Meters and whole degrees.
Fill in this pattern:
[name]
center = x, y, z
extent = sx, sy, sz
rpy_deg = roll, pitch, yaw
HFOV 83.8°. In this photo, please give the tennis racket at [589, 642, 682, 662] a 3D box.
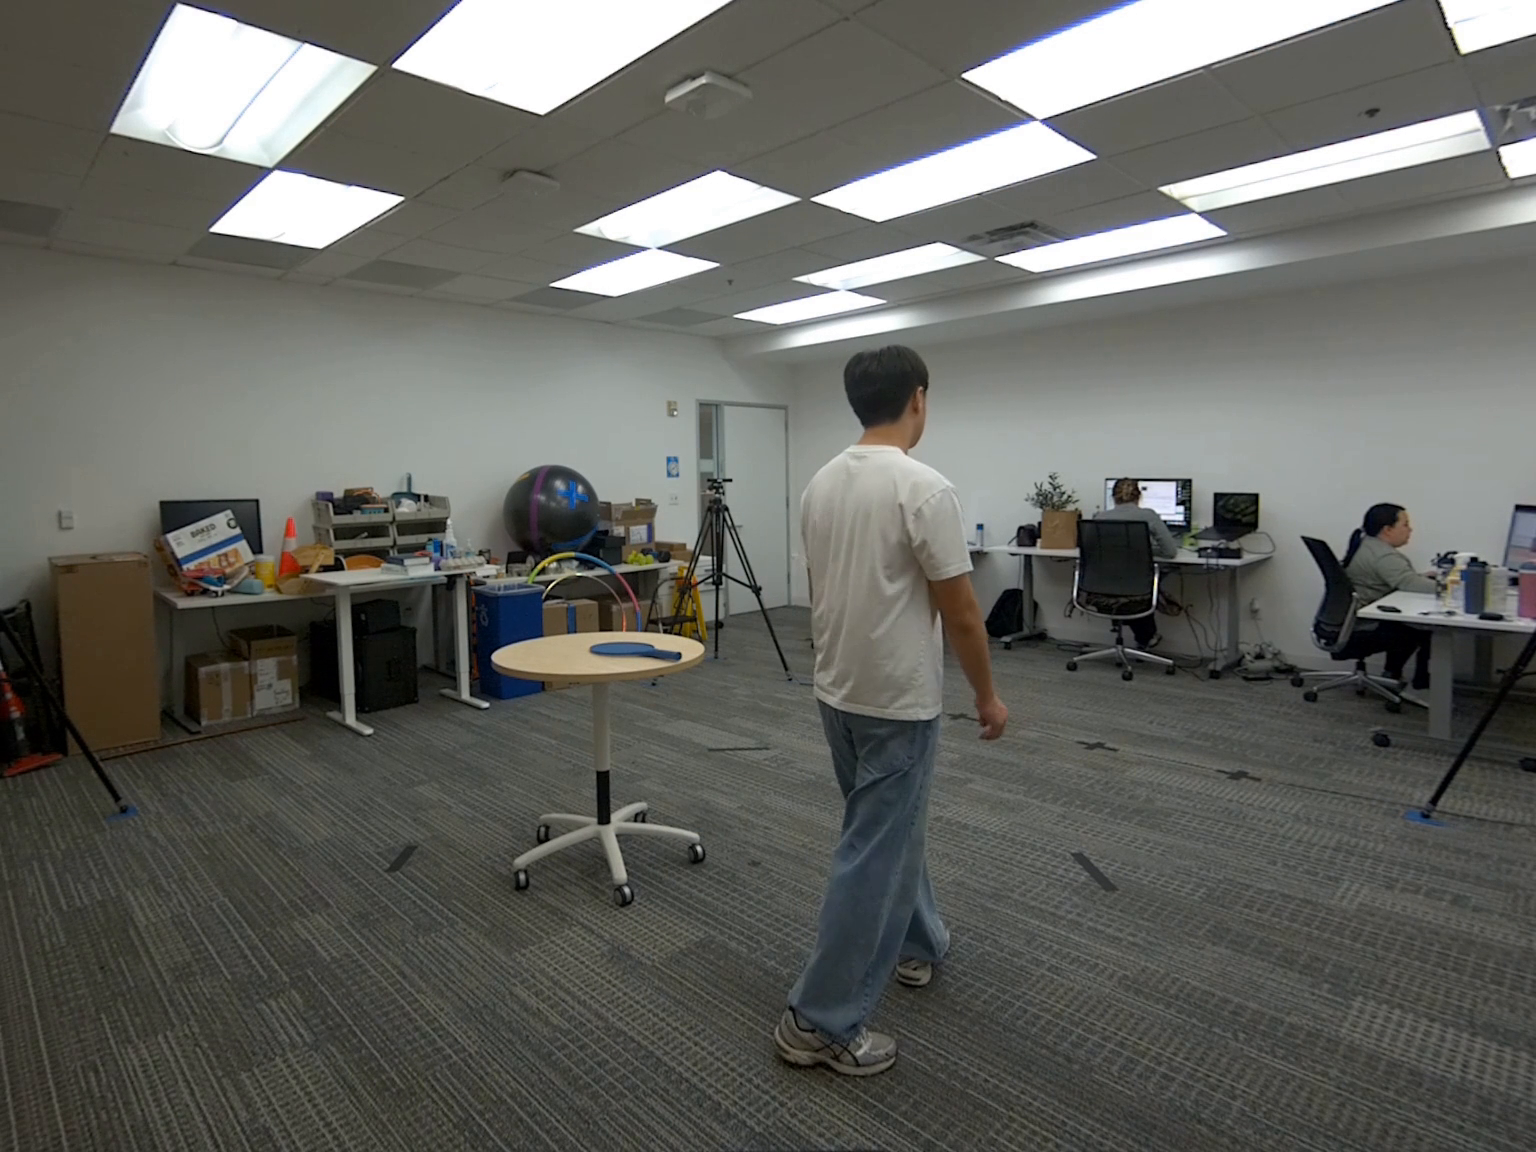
[tennis racket]
center = -0.465, 0.267, 3.036
extent = 0.446, 0.031, 0.208
rpy_deg = 3, 7, 44
